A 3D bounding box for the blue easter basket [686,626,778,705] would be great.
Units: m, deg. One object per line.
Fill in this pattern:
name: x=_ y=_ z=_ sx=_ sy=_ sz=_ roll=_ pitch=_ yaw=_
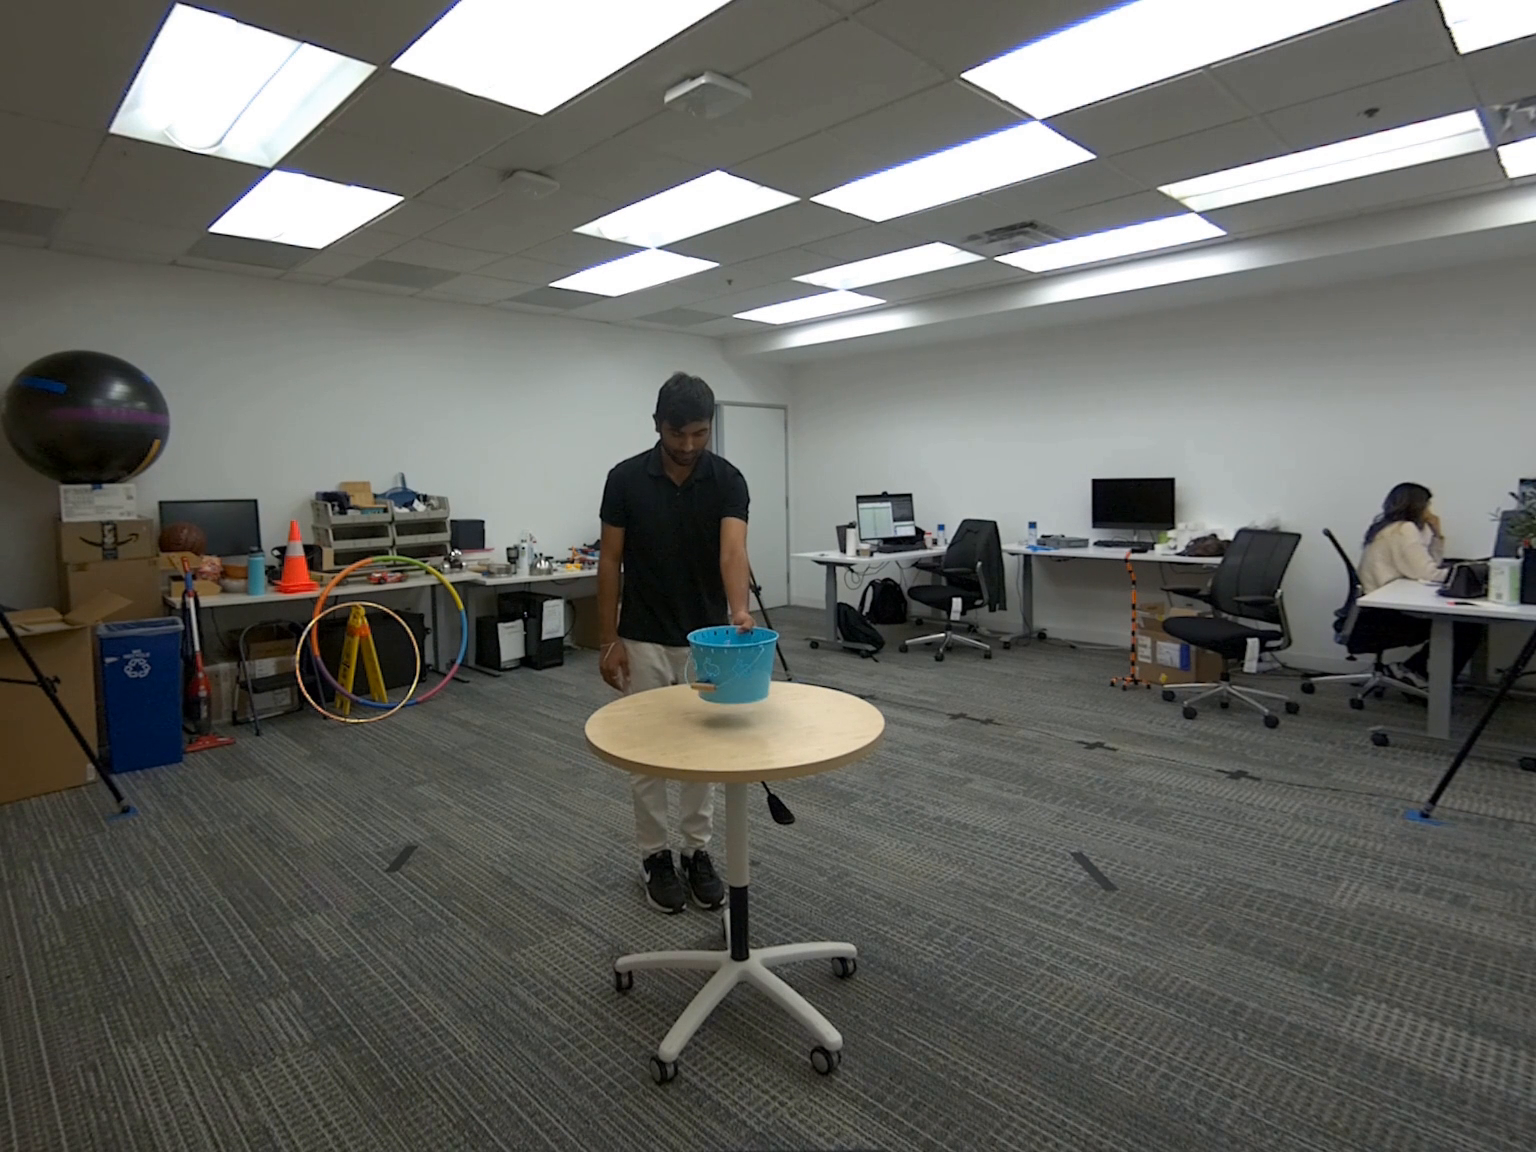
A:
blue easter basket: x=-0.097 y=0.229 z=2.172 sx=0.243 sy=0.155 sz=0.245 roll=0 pitch=6 yaw=-2
